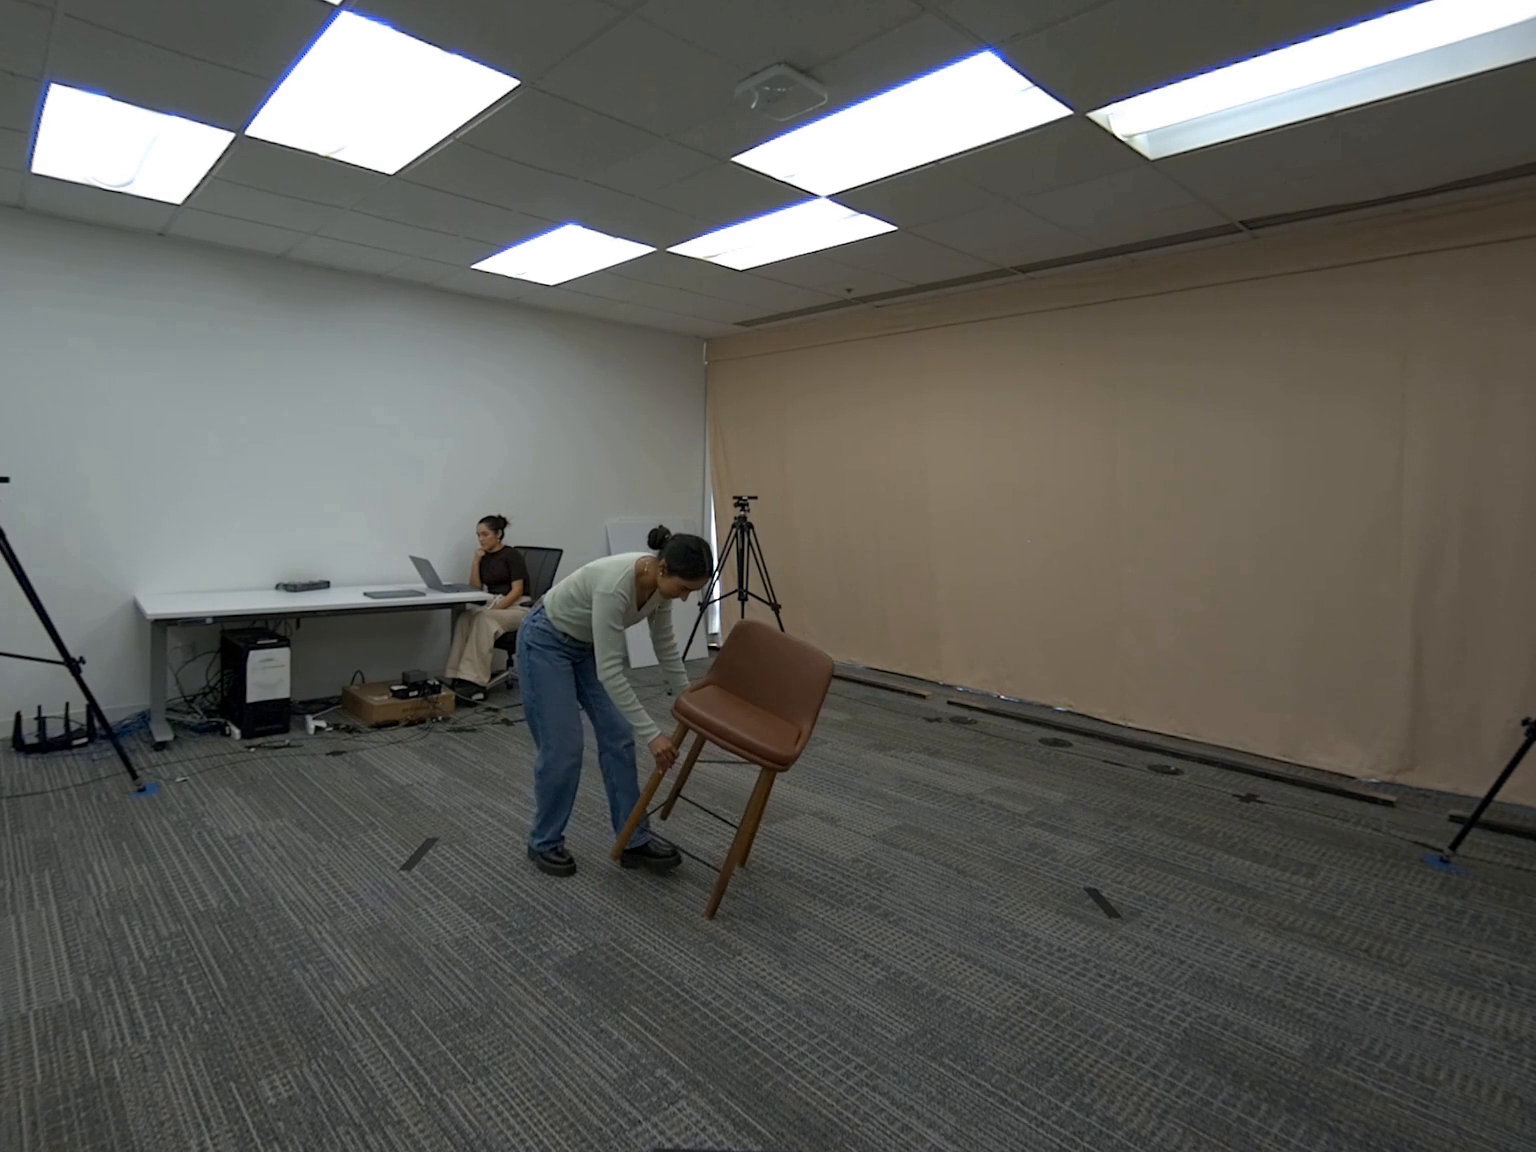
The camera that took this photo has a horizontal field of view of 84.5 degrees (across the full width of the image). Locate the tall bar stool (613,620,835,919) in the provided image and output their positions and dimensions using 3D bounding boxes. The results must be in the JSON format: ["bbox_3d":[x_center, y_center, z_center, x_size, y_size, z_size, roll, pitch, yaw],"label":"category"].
[{"bbox_3d":[-0.151,0.647,2.970,0.464,0.887,0.461,24,7,14],"label":"tall bar stool"}]
